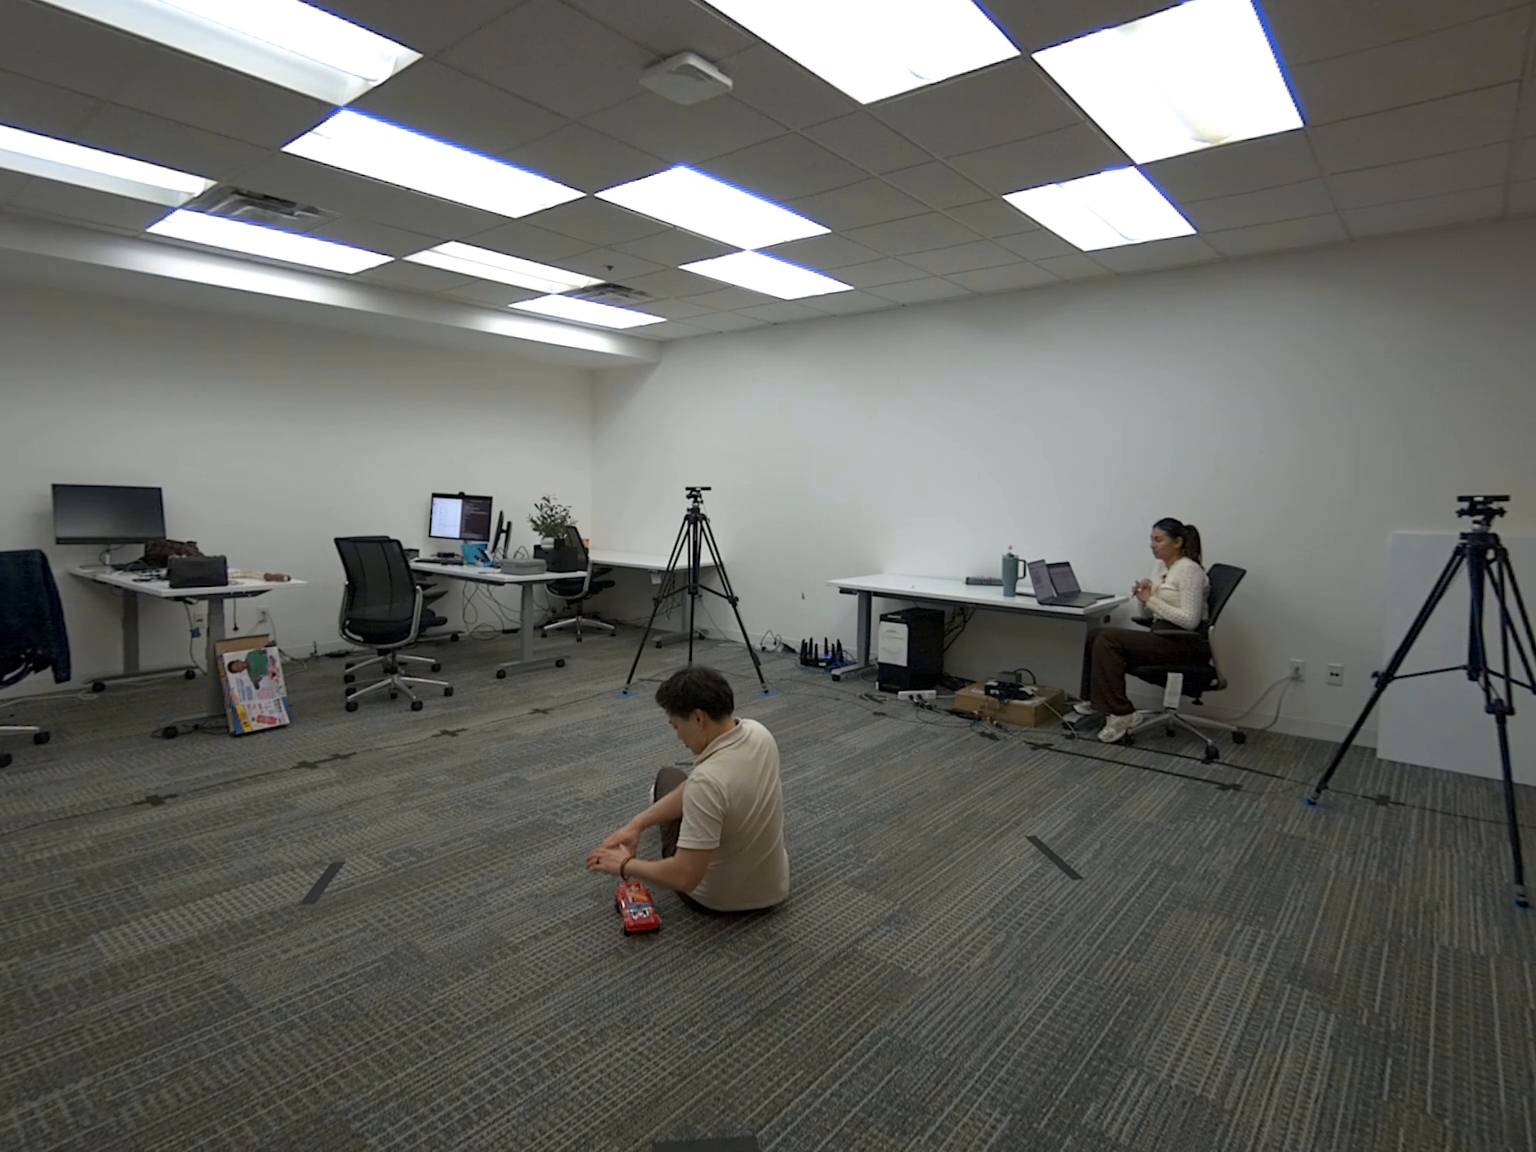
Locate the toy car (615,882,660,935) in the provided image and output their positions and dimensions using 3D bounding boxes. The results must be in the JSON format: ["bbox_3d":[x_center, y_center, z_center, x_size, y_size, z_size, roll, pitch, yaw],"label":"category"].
[{"bbox_3d":[-0.432,1.068,2.743,0.128,0.082,0.262,-5,18,-17],"label":"toy car"}]
